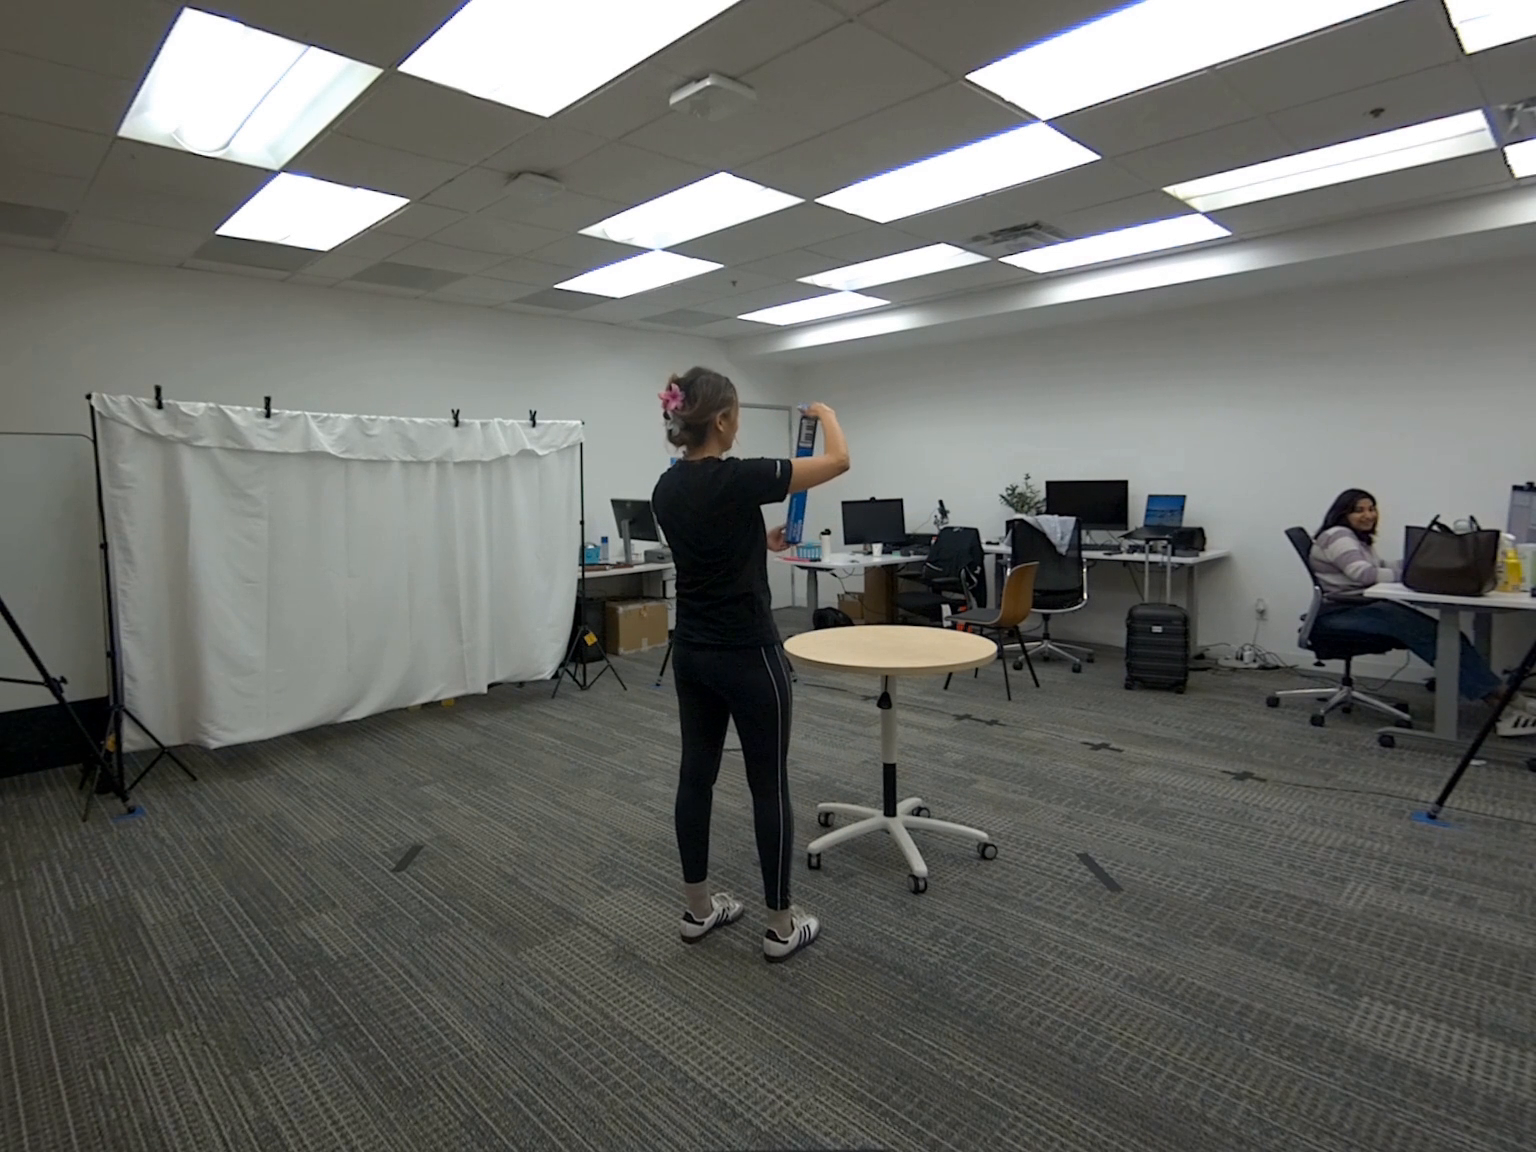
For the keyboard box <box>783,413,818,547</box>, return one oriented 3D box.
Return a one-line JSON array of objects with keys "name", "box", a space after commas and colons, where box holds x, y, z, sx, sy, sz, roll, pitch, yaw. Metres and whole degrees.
[{"name": "keyboard box", "box": [0.117, -0.347, 2.908, 0.059, 0.430, 0.178, 7, 19, 1]}]
